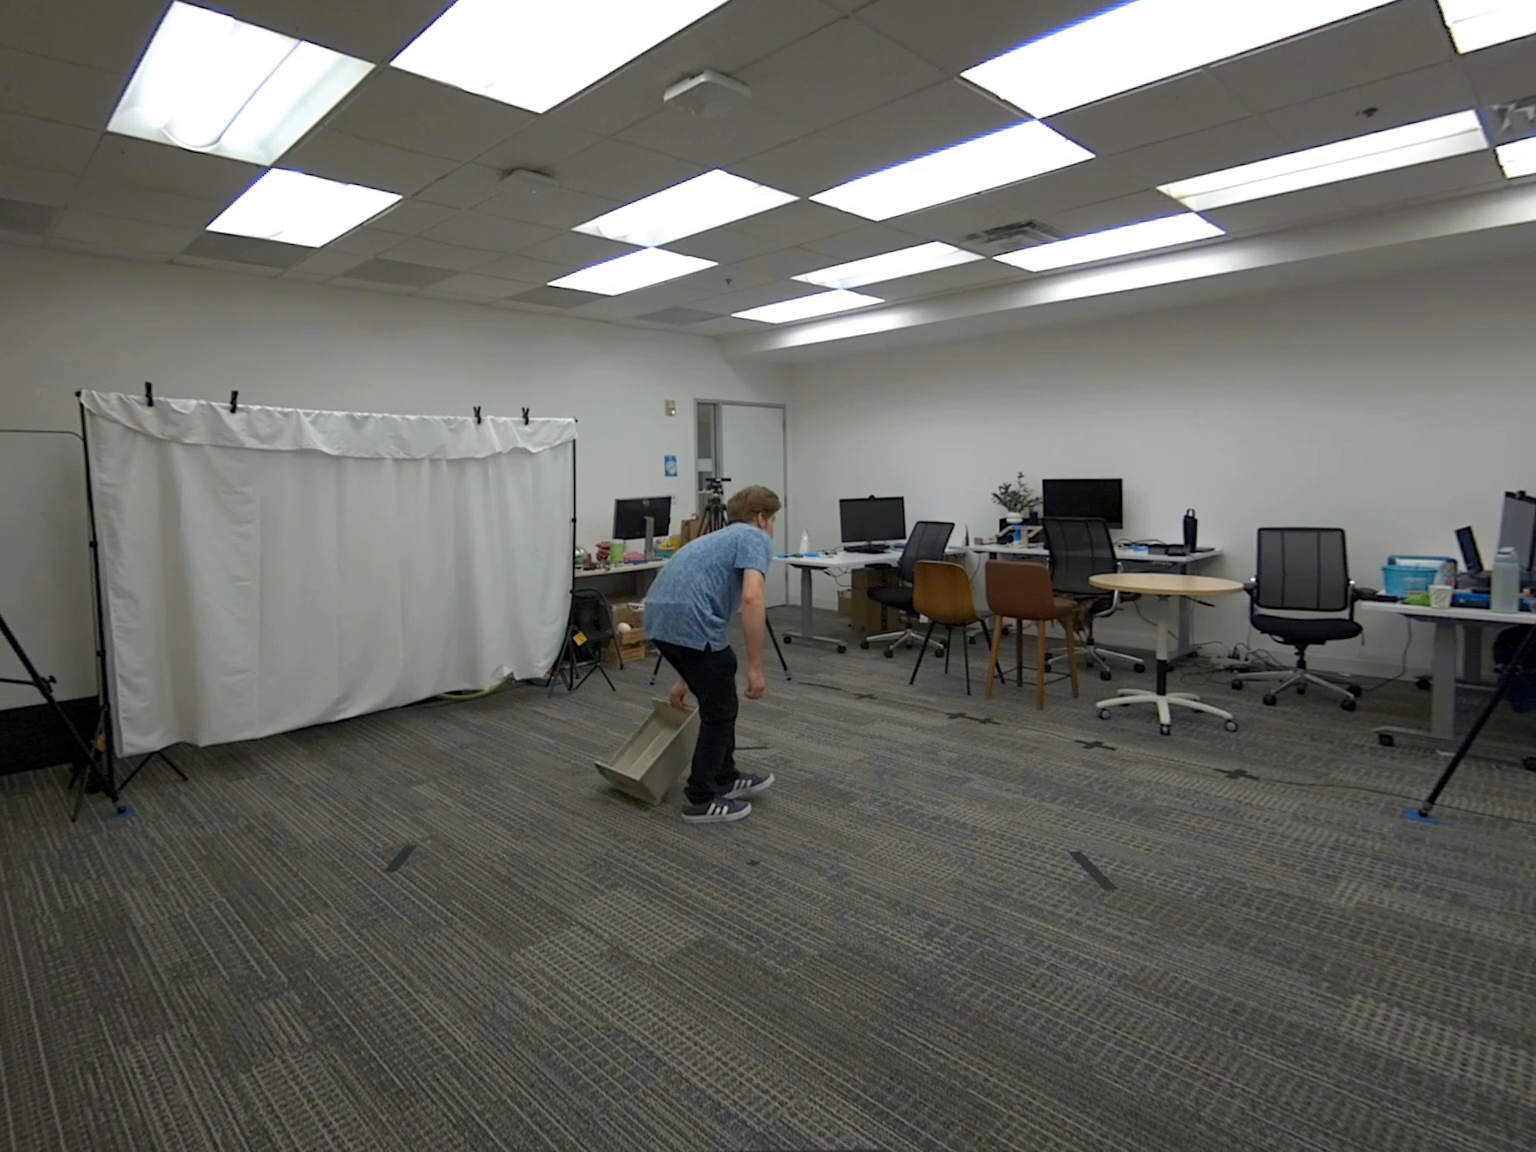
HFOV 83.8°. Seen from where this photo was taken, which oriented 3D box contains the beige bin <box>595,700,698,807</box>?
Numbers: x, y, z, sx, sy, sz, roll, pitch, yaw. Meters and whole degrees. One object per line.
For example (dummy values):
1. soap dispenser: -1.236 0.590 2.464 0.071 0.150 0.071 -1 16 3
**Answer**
1. beige bin: -0.521 0.774 3.859 0.389 0.183 0.422 5 42 45
